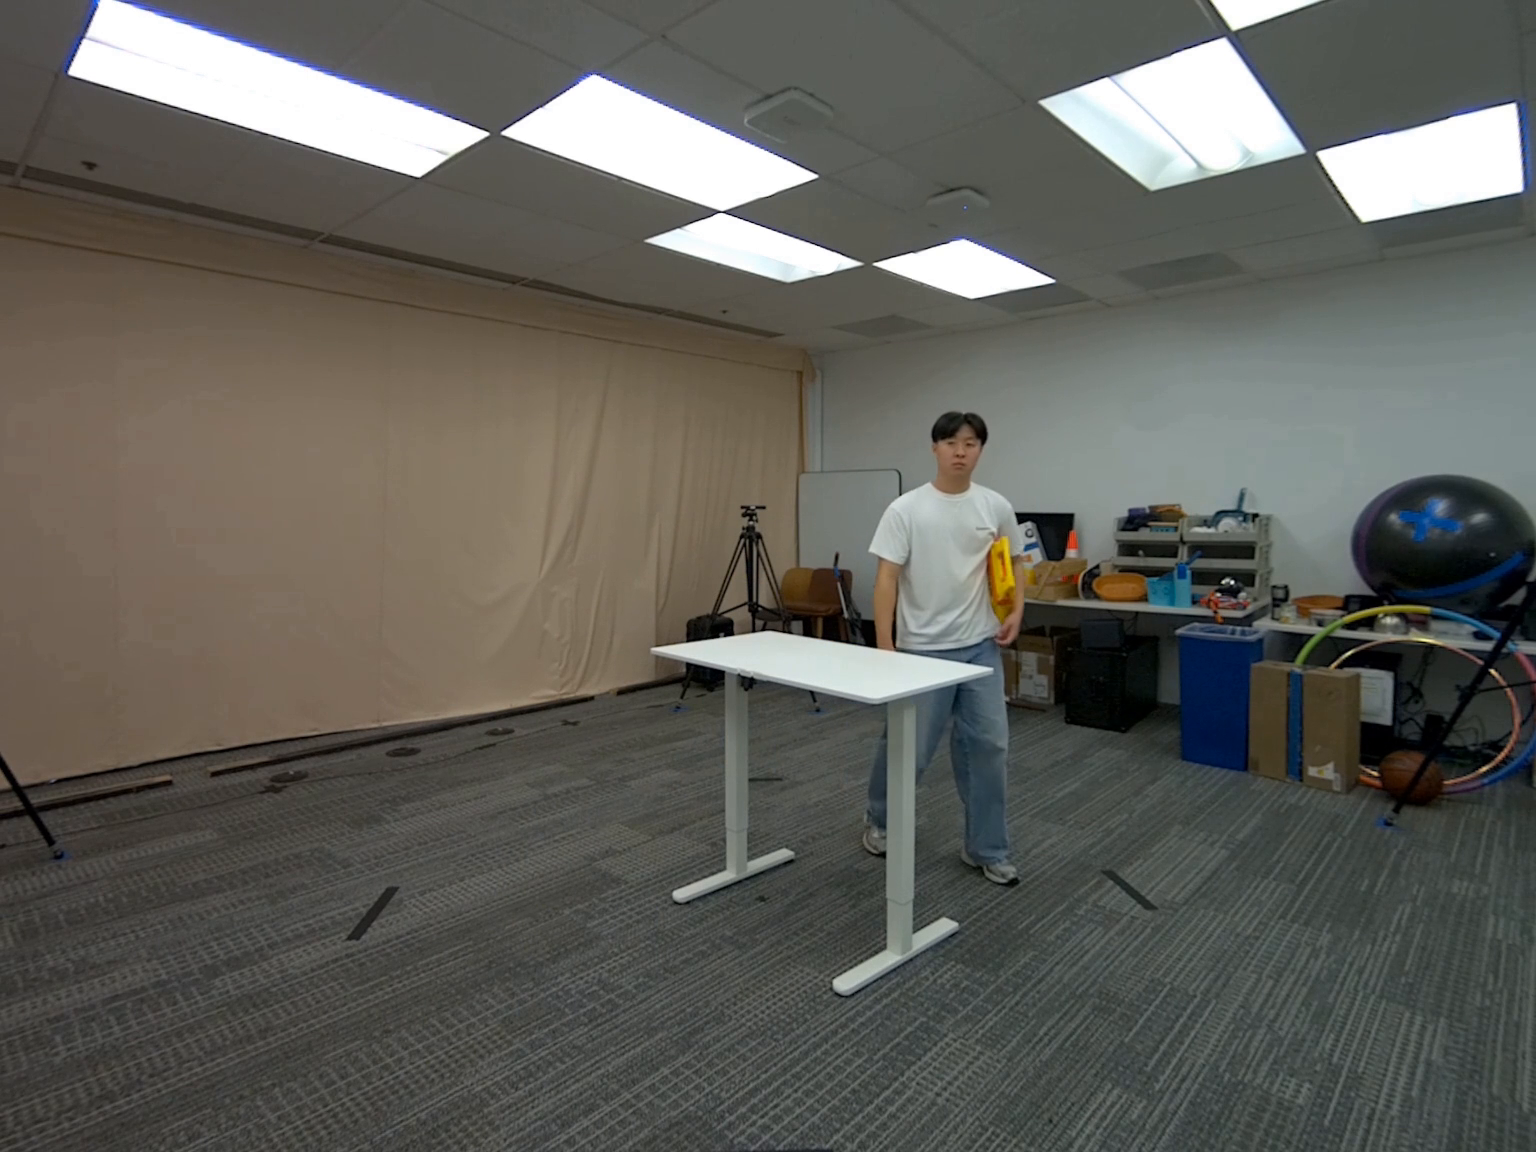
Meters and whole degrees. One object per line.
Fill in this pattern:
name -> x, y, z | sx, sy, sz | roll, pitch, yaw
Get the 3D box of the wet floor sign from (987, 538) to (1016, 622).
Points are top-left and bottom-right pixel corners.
wet floor sign -> 0.877, 0.055, 3.350 | 0.290, 0.286, 0.637 | -1, -20, 0
